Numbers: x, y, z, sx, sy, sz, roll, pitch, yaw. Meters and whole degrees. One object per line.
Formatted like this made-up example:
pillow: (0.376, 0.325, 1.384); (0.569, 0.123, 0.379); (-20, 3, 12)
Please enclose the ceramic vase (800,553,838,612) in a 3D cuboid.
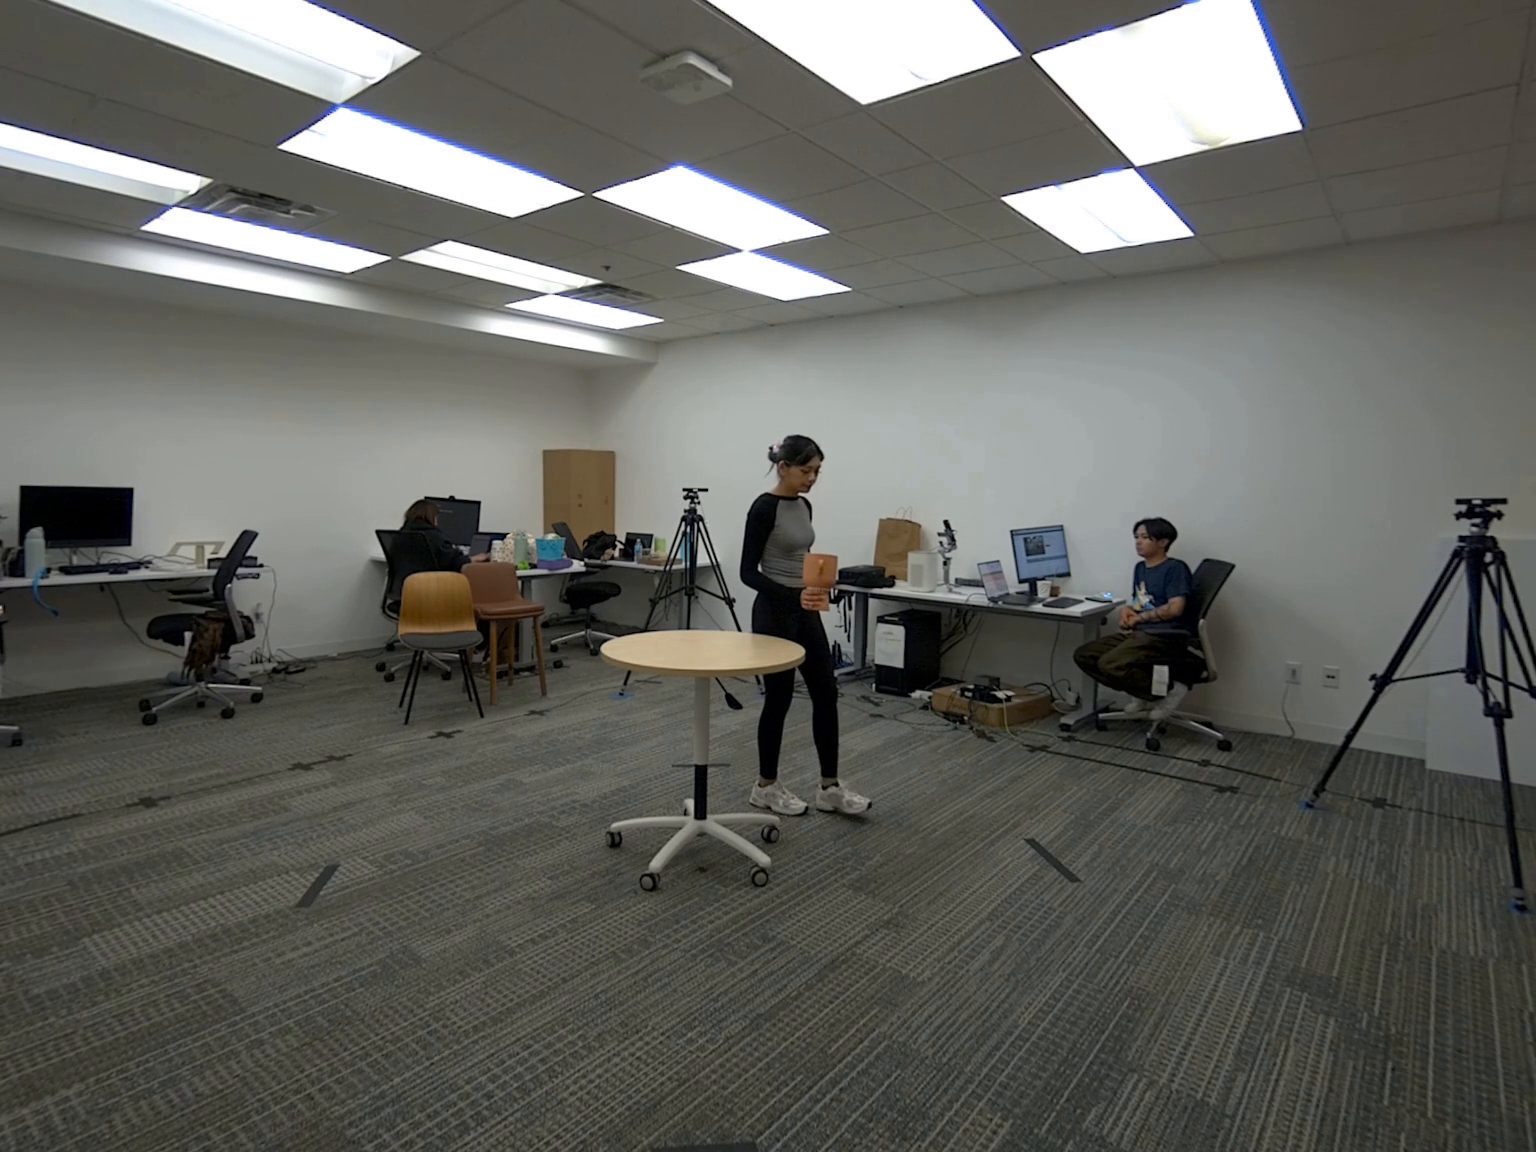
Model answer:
ceramic vase: (0.192, 0.020, 3.372); (0.139, 0.220, 0.153); (3, -3, 43)
